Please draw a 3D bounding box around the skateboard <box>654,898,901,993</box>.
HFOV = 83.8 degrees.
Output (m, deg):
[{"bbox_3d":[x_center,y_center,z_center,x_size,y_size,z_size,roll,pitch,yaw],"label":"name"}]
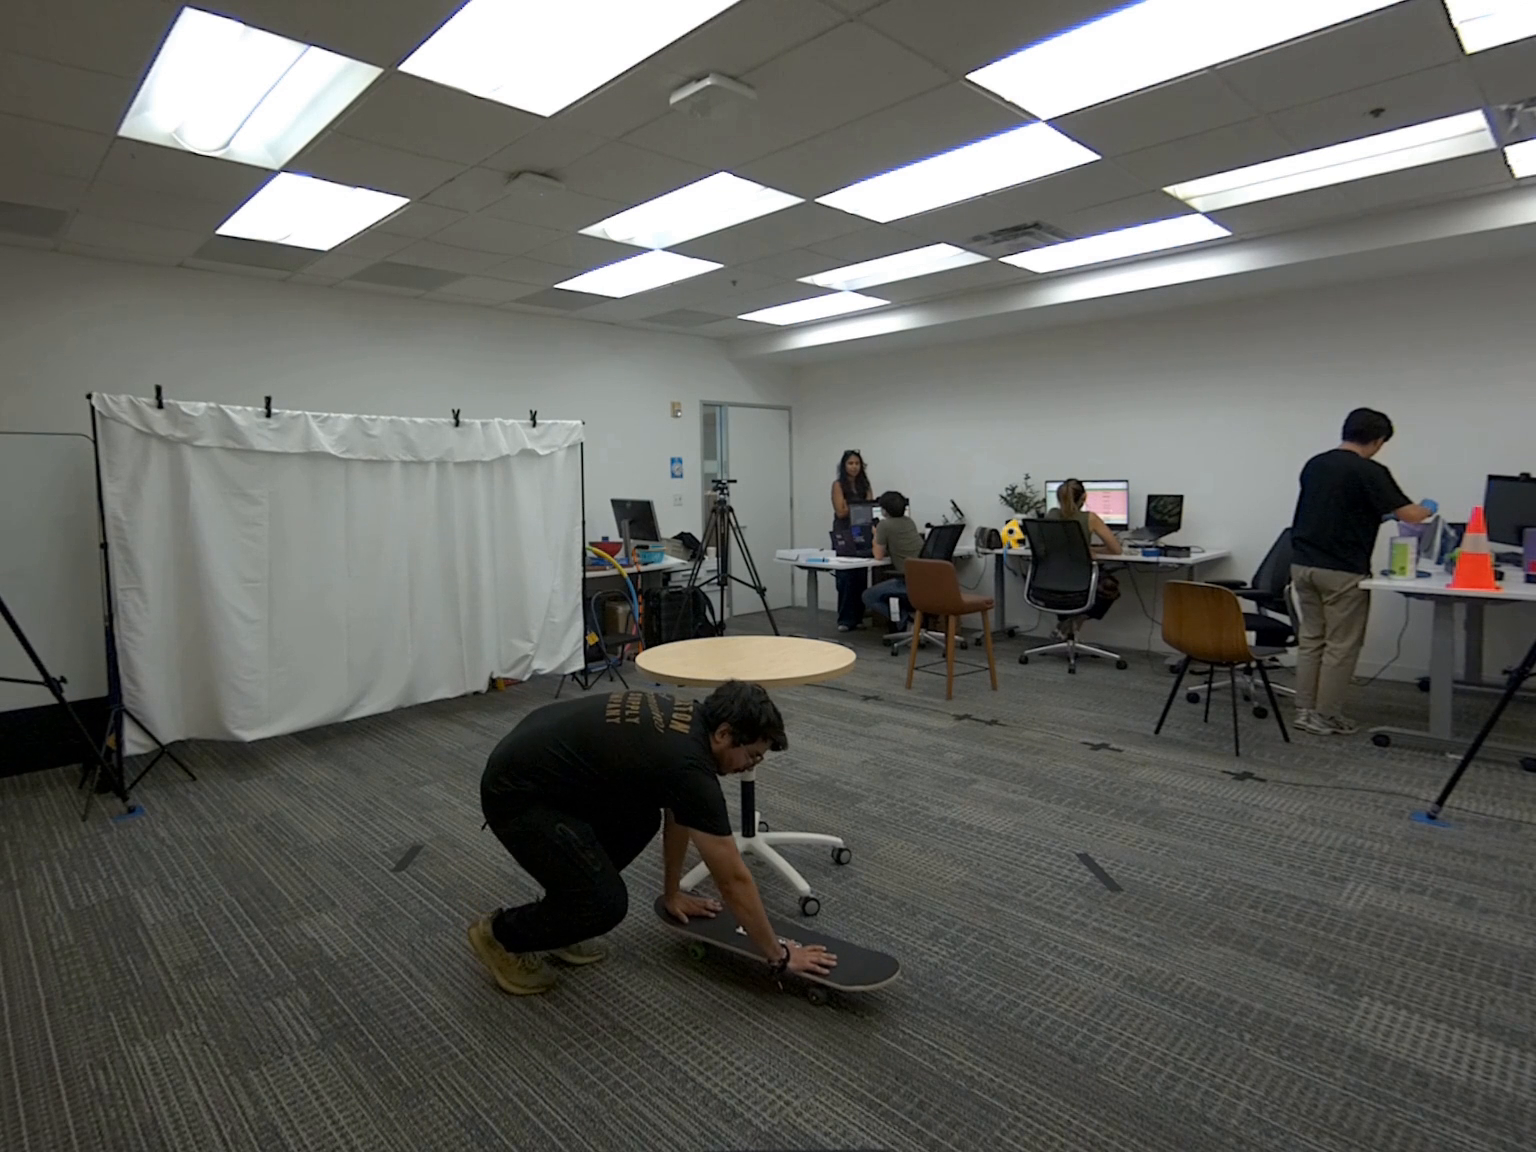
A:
[{"bbox_3d":[0.001,1.058,2.459,0.808,0.110,0.189,3,8,34],"label":"skateboard"}]
